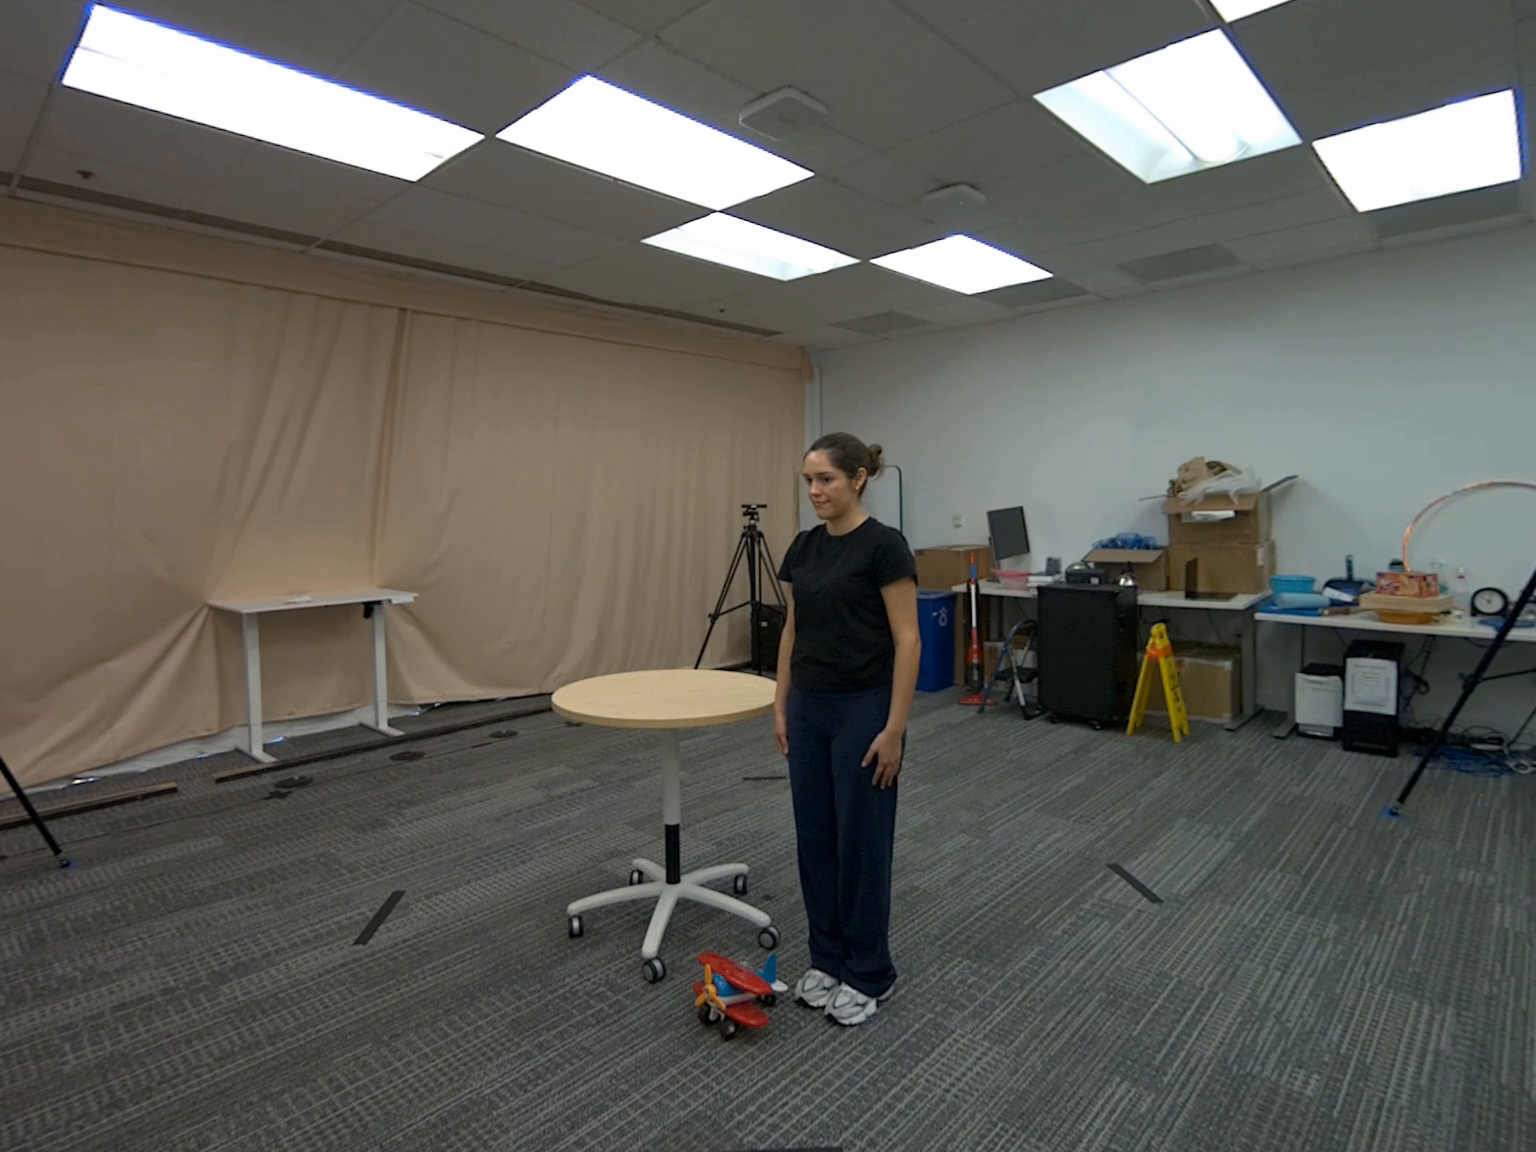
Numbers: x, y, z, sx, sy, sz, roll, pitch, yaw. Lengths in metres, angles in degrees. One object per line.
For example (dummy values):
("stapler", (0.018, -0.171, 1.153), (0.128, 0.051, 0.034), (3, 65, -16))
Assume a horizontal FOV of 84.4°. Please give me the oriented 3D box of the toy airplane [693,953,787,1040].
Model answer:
("toy airplane", (-0.061, 1.132, 2.298), (0.256, 0.156, 0.255), (1, 6, 18))
